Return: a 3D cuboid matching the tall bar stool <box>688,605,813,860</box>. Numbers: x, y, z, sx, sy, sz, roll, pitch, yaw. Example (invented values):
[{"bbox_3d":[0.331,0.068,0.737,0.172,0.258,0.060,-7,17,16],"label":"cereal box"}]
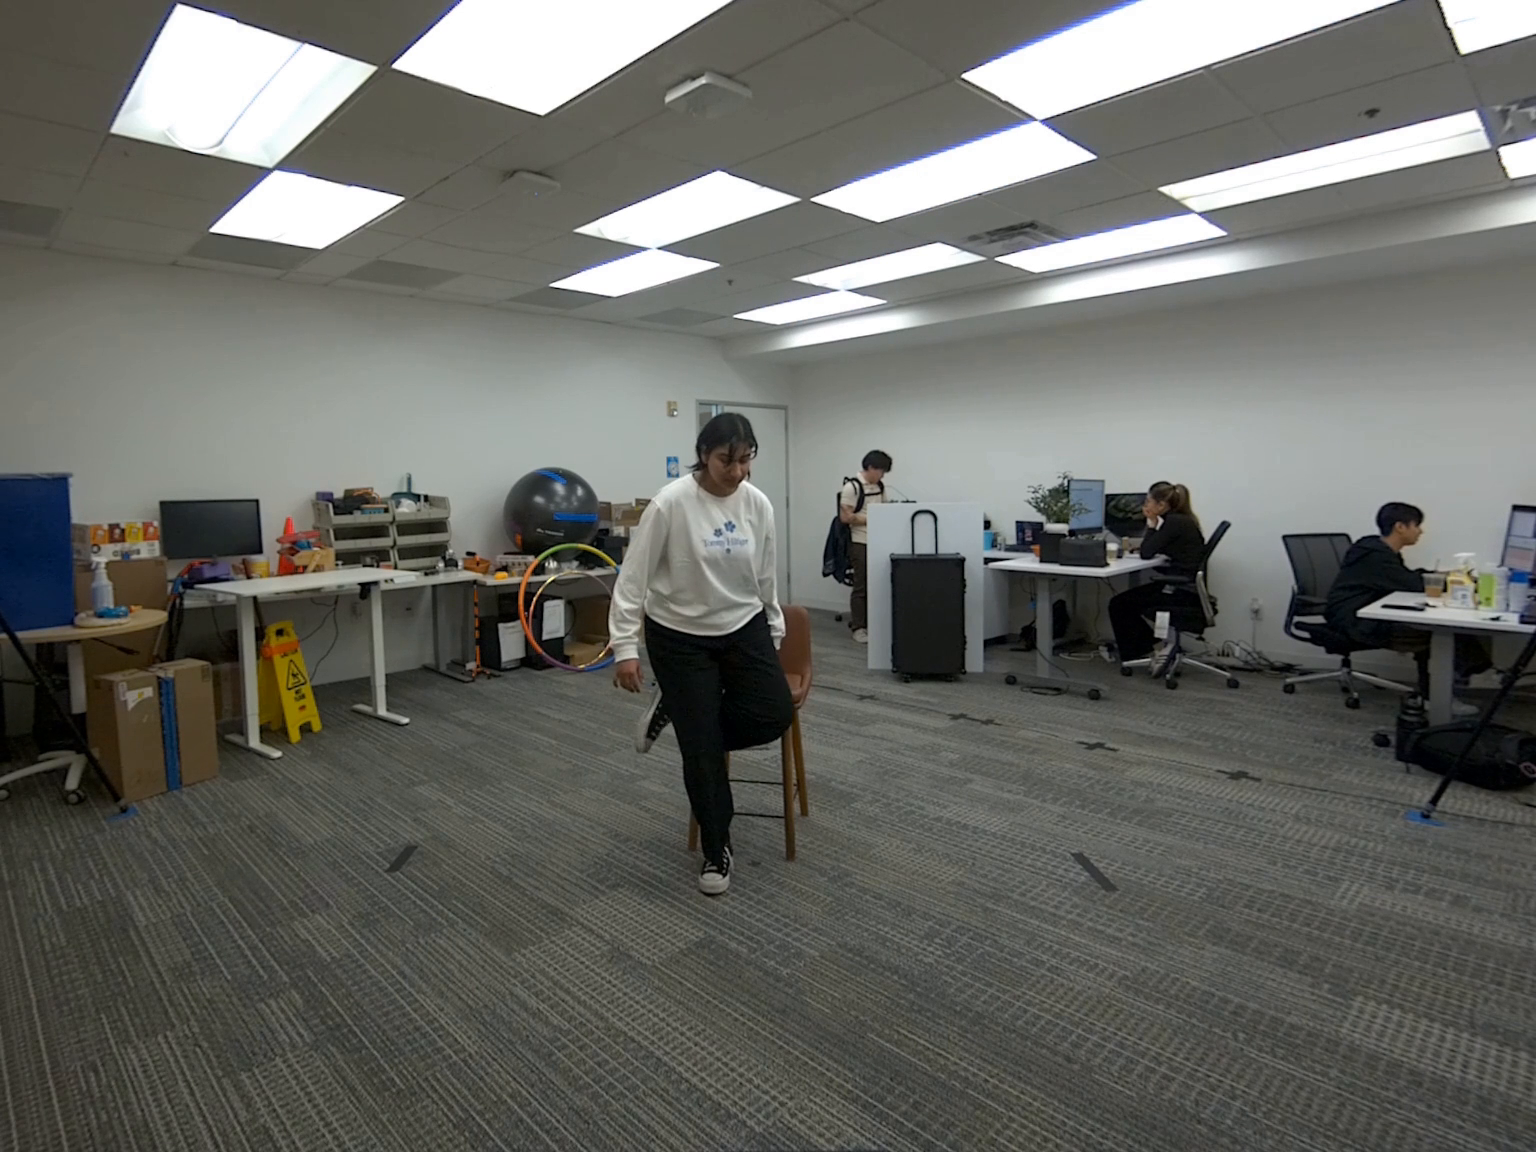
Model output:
[{"bbox_3d":[-0.060,0.582,3.371,0.463,0.888,0.462,0,2,14],"label":"tall bar stool"}]
